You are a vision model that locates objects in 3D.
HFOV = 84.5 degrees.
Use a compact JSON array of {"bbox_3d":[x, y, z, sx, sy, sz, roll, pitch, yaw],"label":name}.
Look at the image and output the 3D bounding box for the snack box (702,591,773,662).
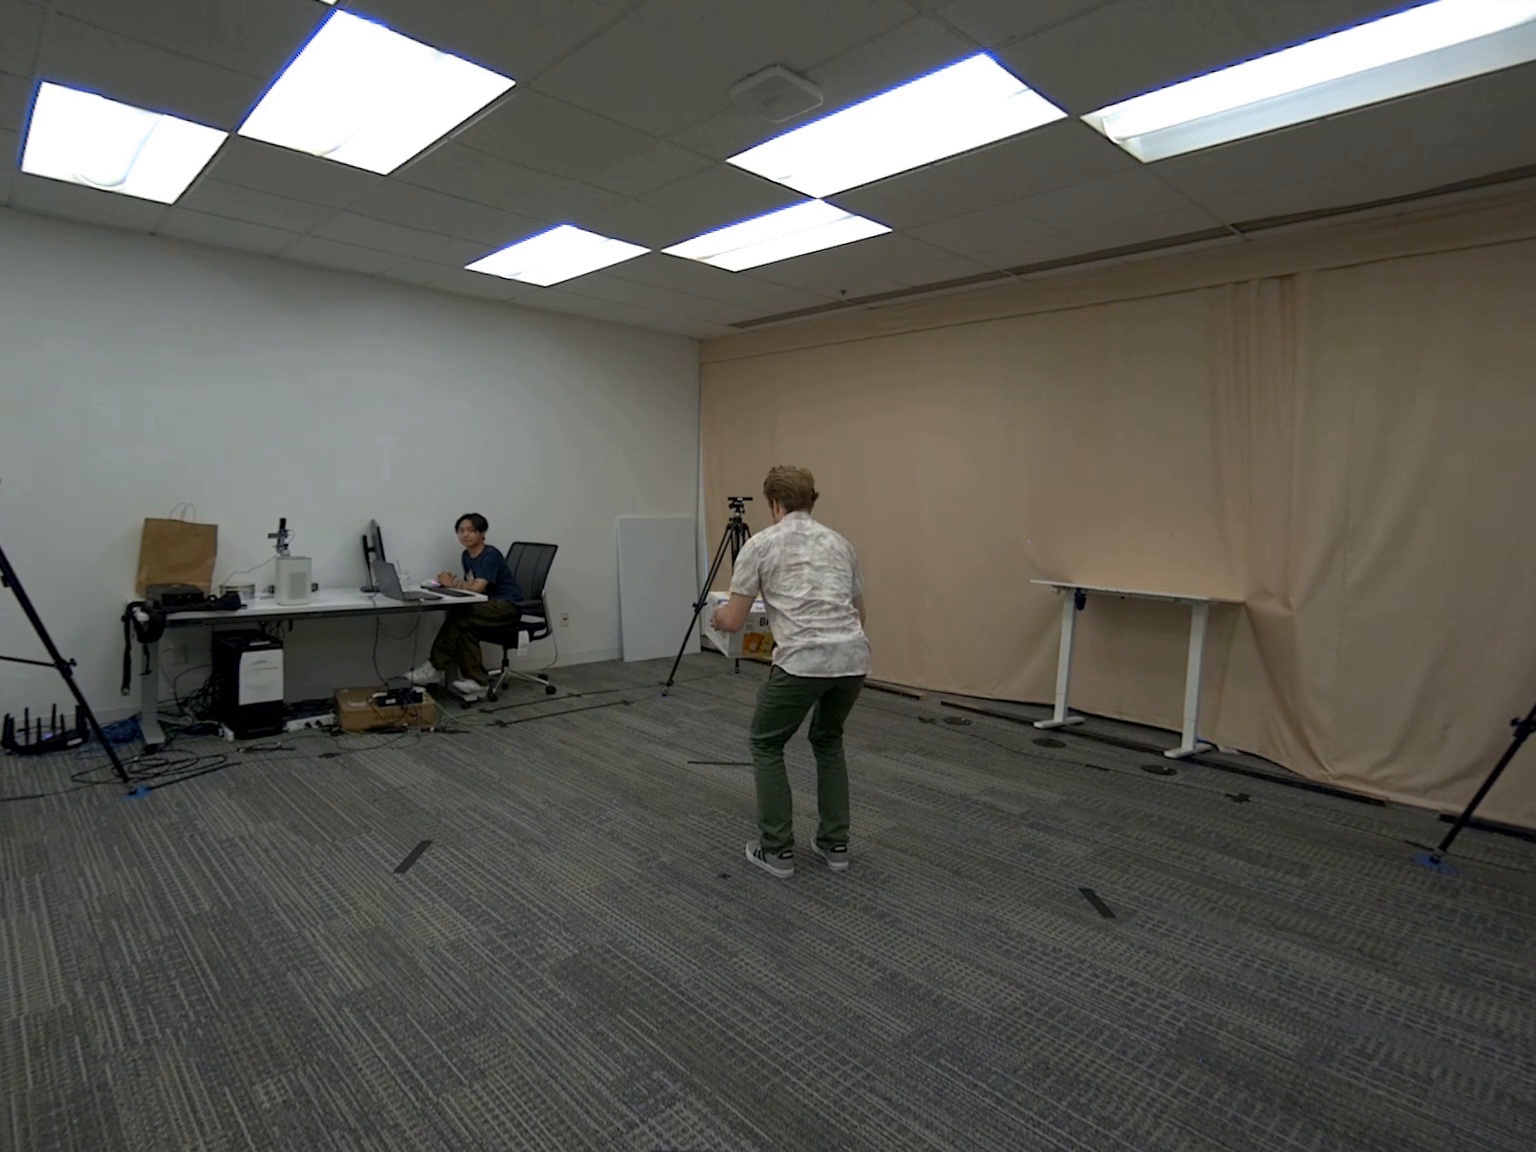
[{"bbox_3d":[-0.033,0.211,3.687,0.399,0.204,0.348,0,12,-20],"label":"snack box"}]
